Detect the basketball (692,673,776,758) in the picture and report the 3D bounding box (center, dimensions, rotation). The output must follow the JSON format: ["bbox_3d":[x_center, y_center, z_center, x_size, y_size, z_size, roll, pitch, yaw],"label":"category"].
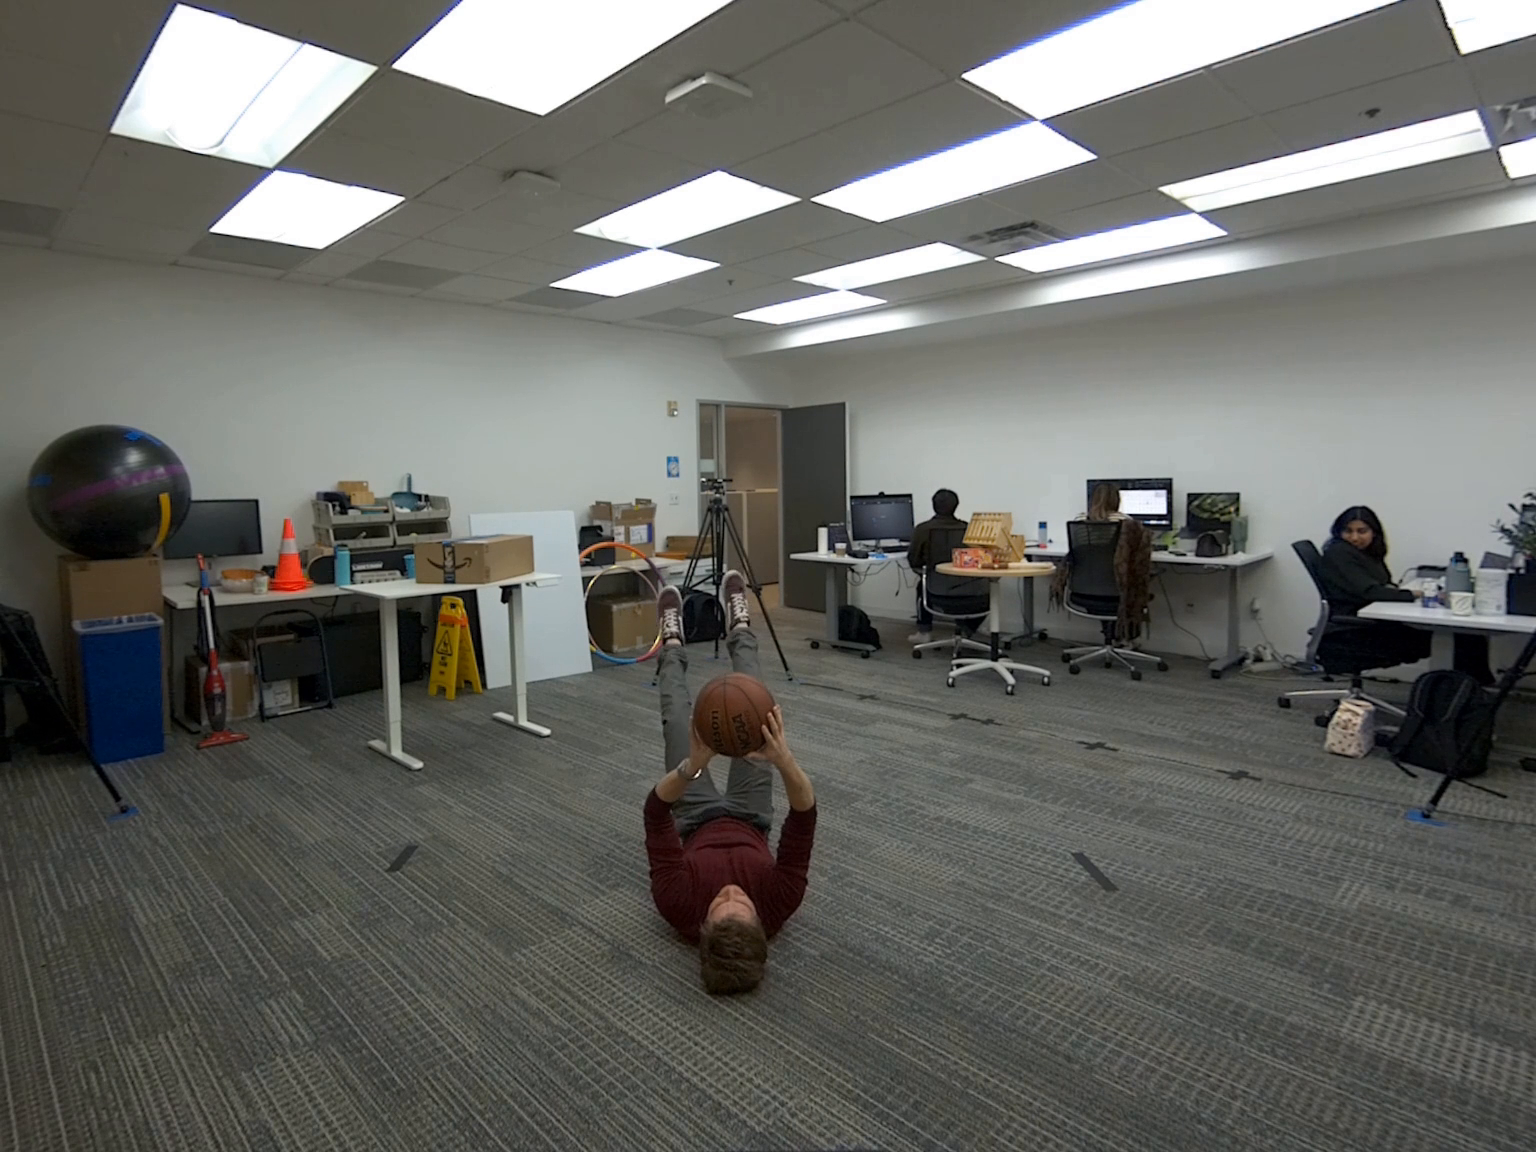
[{"bbox_3d":[-0.091,0.398,2.449,0.236,0.235,0.237,-1,5,-2],"label":"basketball"}]
